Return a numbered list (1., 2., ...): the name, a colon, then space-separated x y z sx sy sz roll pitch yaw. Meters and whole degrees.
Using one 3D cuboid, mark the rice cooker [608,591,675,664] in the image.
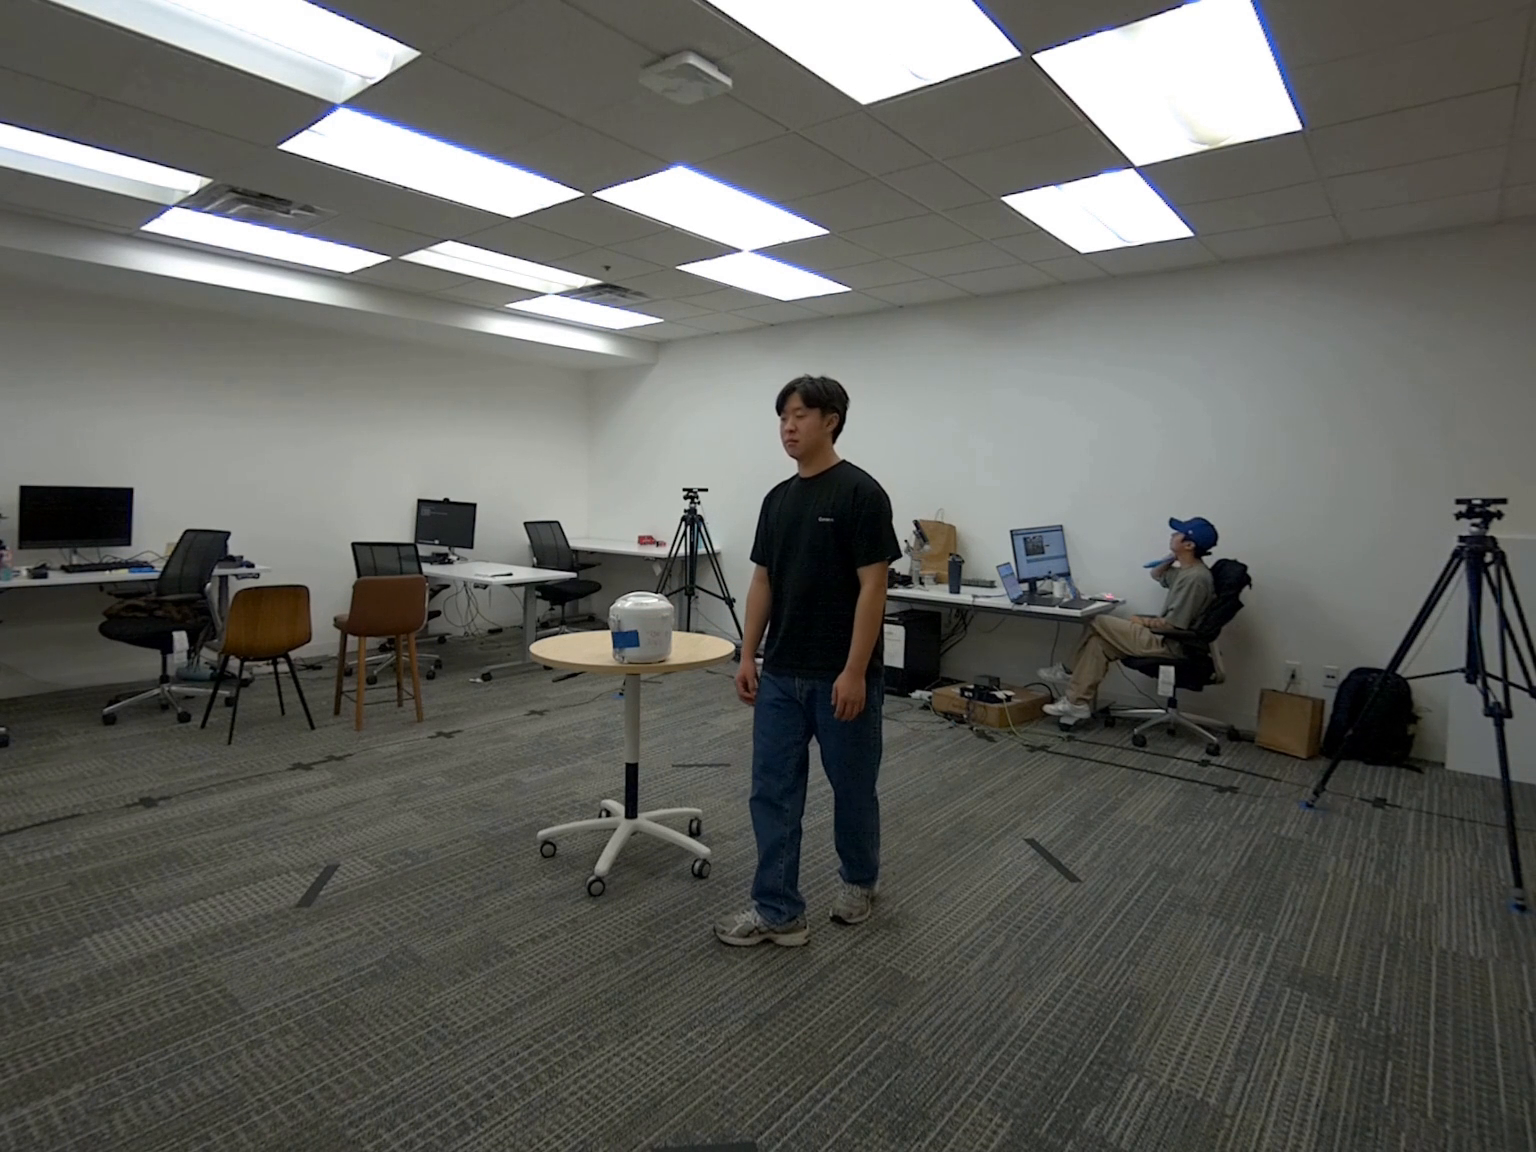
1. rice cooker: -0.446 0.167 2.928 0.220 0.232 0.219 1 5 -3
